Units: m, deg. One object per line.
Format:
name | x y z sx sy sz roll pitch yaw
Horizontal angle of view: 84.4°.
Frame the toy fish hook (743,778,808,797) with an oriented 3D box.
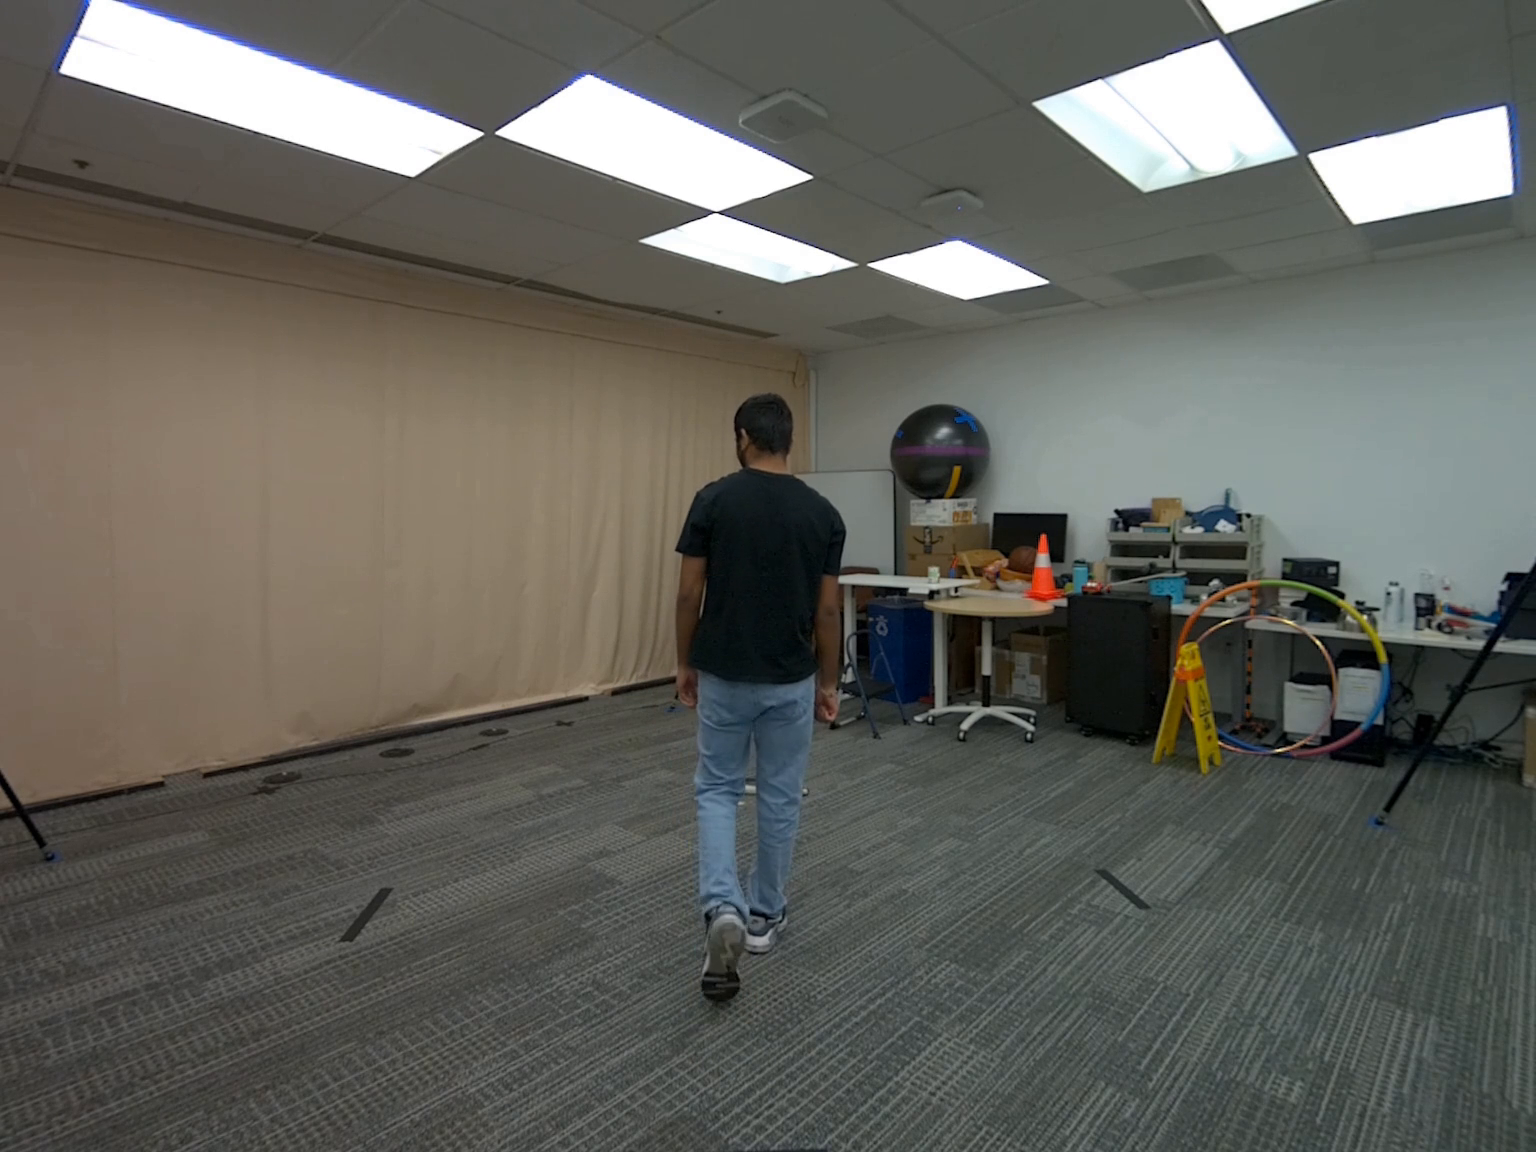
toy fish hook | -0.054 1.042 4.008 0.507 0.048 0.226 -1 11 1
